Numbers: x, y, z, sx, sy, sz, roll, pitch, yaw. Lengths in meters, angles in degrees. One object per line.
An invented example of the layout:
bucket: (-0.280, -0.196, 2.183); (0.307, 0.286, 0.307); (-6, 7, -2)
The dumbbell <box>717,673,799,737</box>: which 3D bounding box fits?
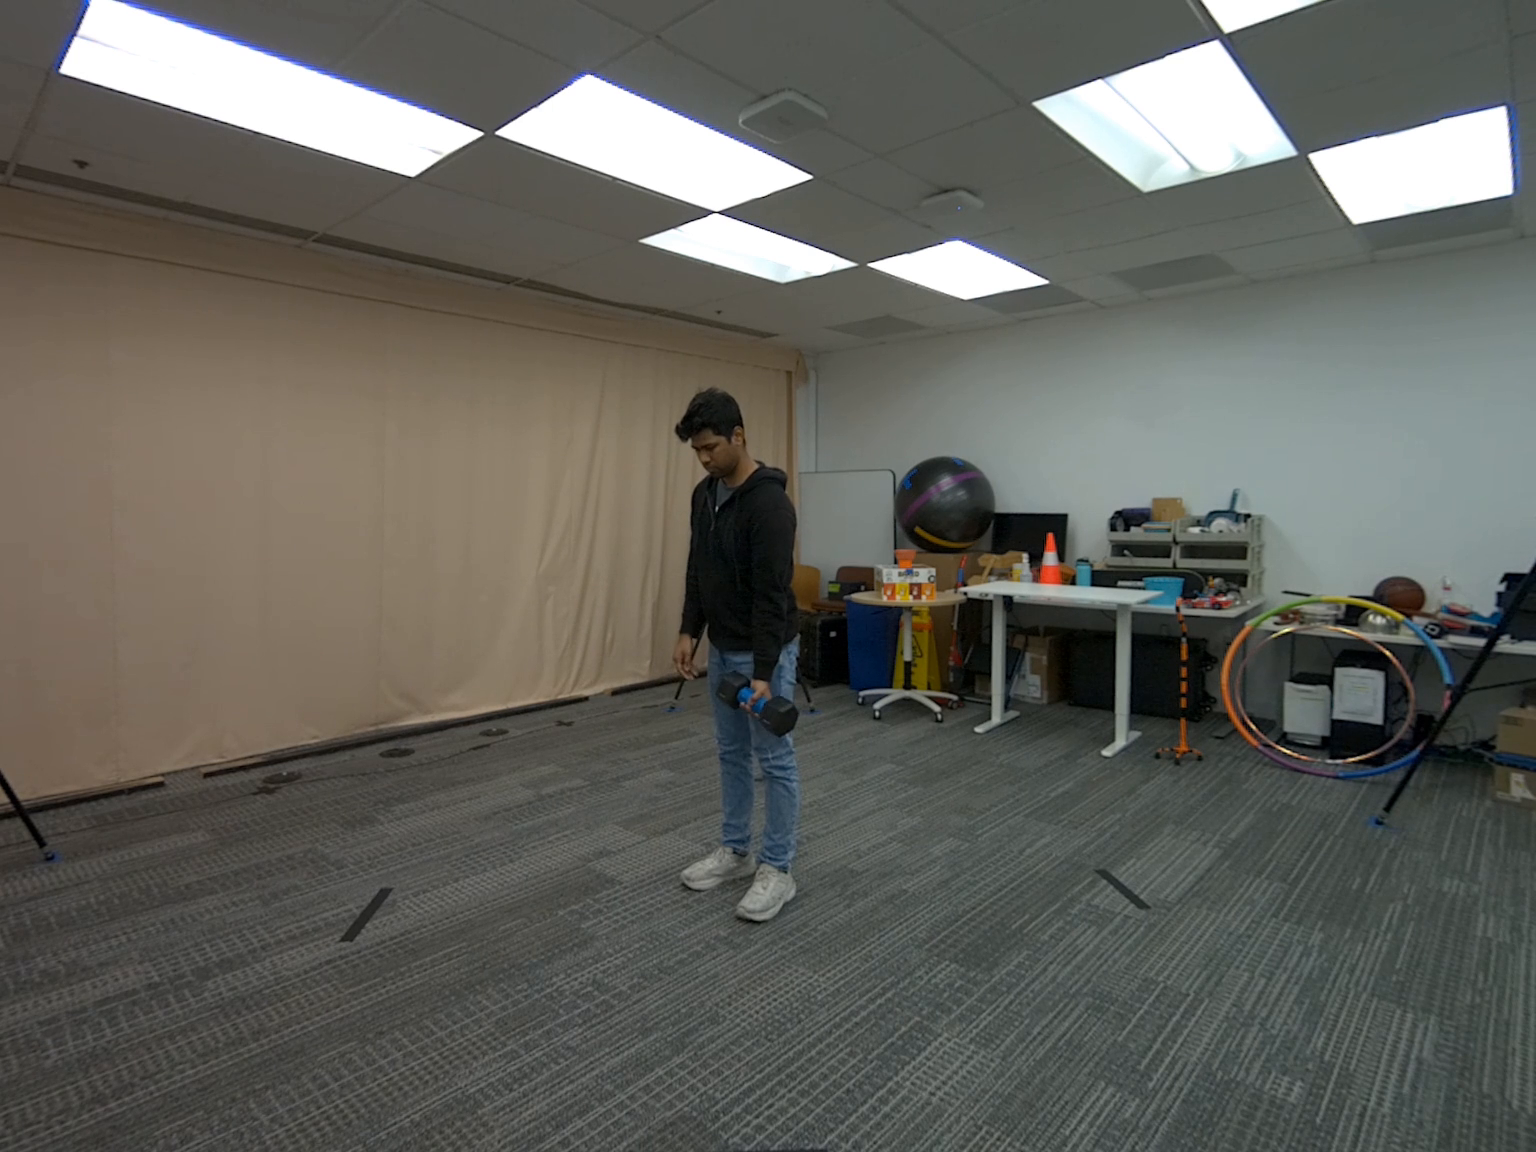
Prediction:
dumbbell: (-0.049, 0.408, 2.753); (0.120, 0.107, 0.304); (-23, 30, -36)
